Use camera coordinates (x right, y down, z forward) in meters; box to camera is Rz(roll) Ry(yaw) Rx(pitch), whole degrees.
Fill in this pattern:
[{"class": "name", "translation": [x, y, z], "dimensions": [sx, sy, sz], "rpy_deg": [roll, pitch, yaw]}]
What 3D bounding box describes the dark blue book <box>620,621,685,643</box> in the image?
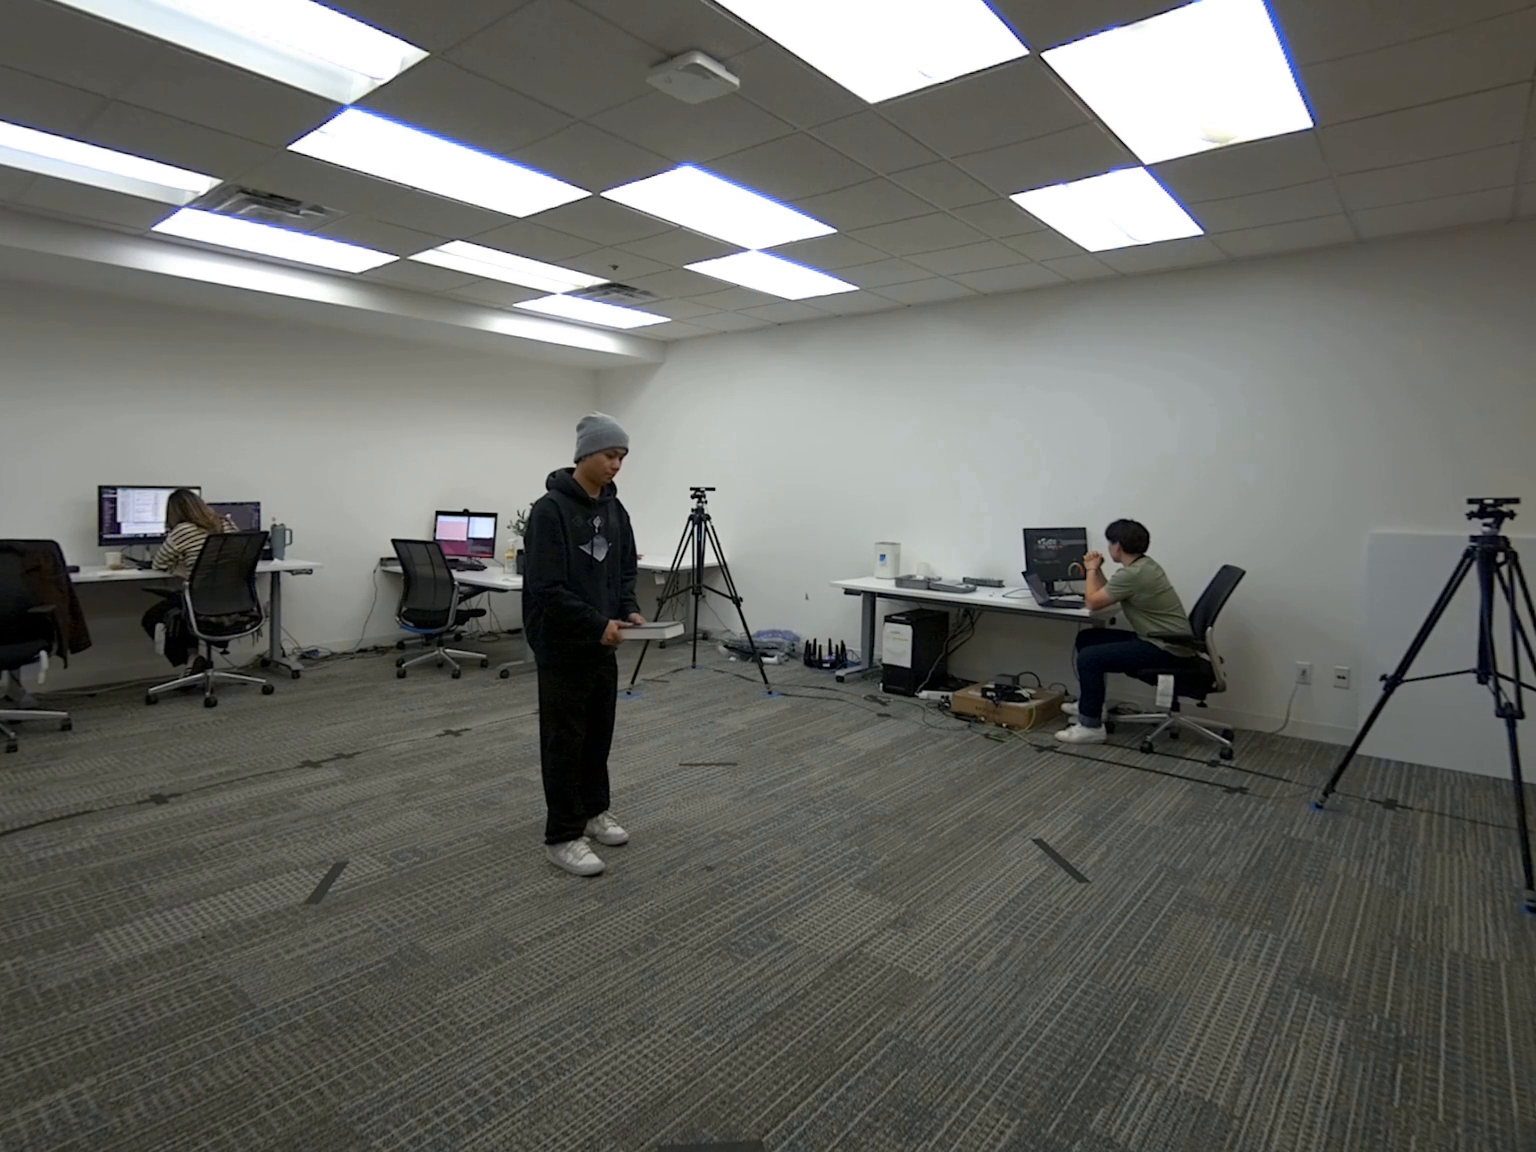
[{"class": "dark blue book", "translation": [-0.462, 0.203, 3.064], "dimensions": [0.250, 0.045, 0.160], "rpy_deg": [-2, 3, 18]}]
